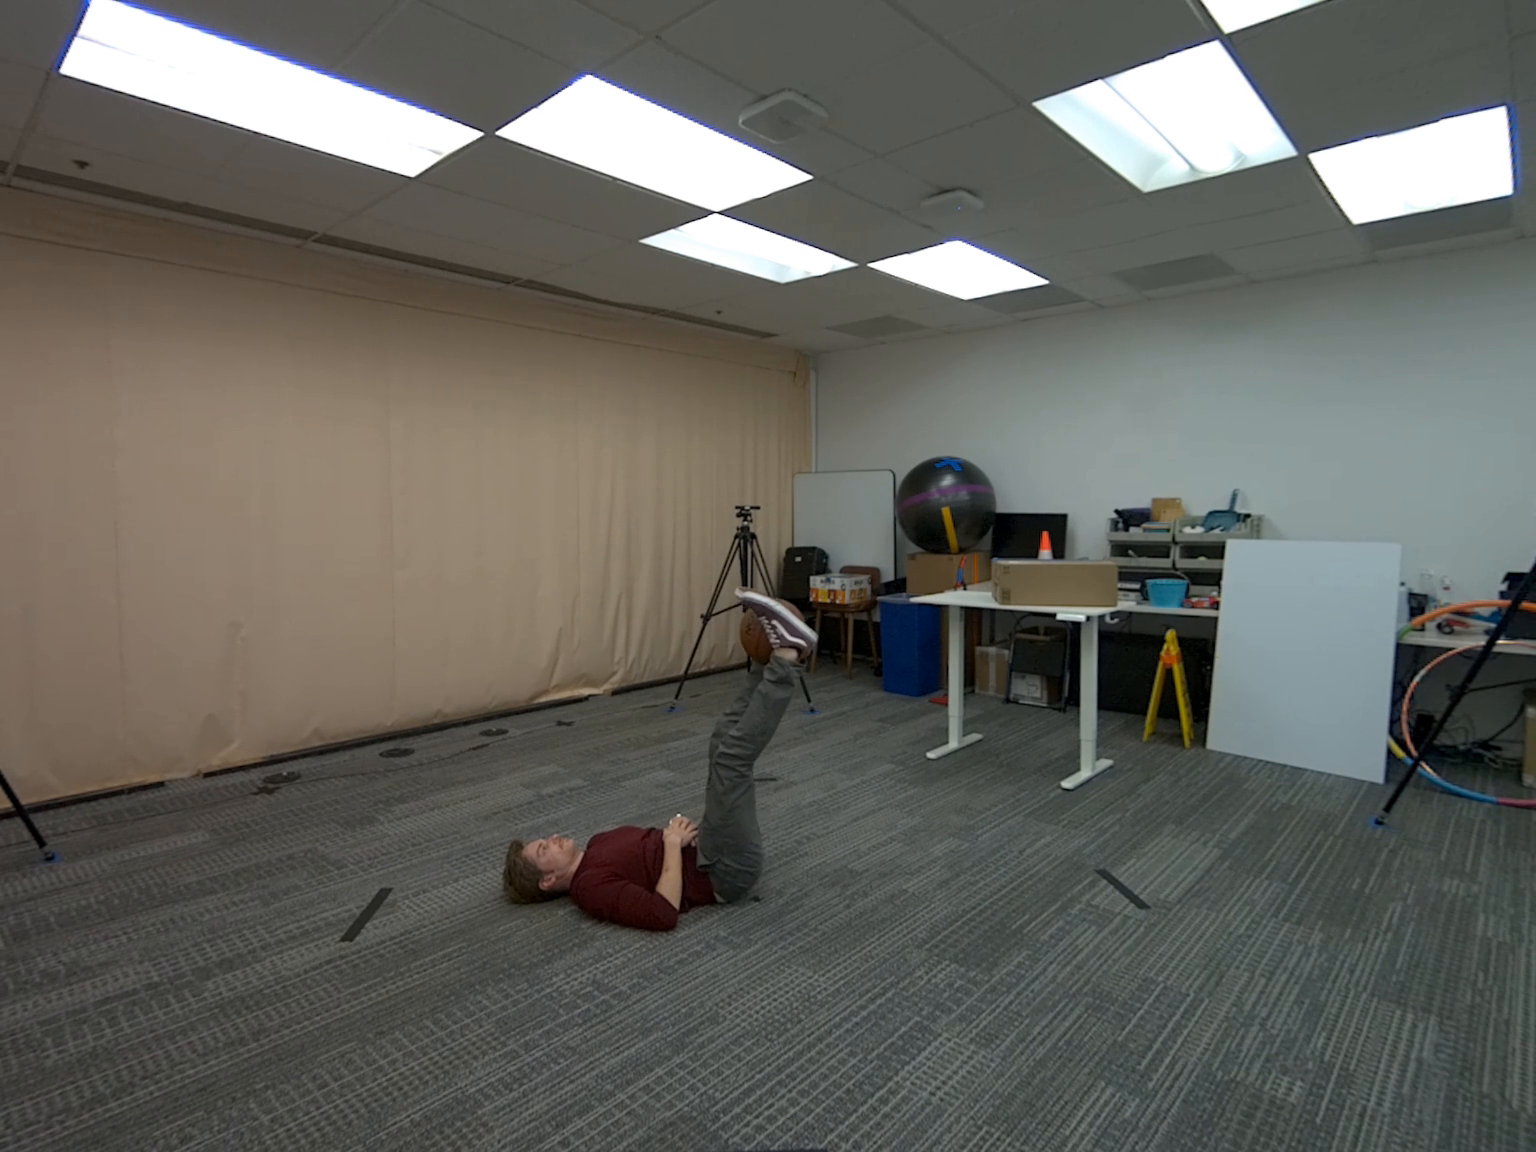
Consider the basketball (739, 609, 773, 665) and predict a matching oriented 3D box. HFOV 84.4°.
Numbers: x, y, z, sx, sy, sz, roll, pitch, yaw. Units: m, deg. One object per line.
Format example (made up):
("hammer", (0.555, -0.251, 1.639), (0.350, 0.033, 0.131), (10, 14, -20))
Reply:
("basketball", (0.017, 0.199, 2.972), (0.235, 0.235, 0.237), (3, 5, -2))
